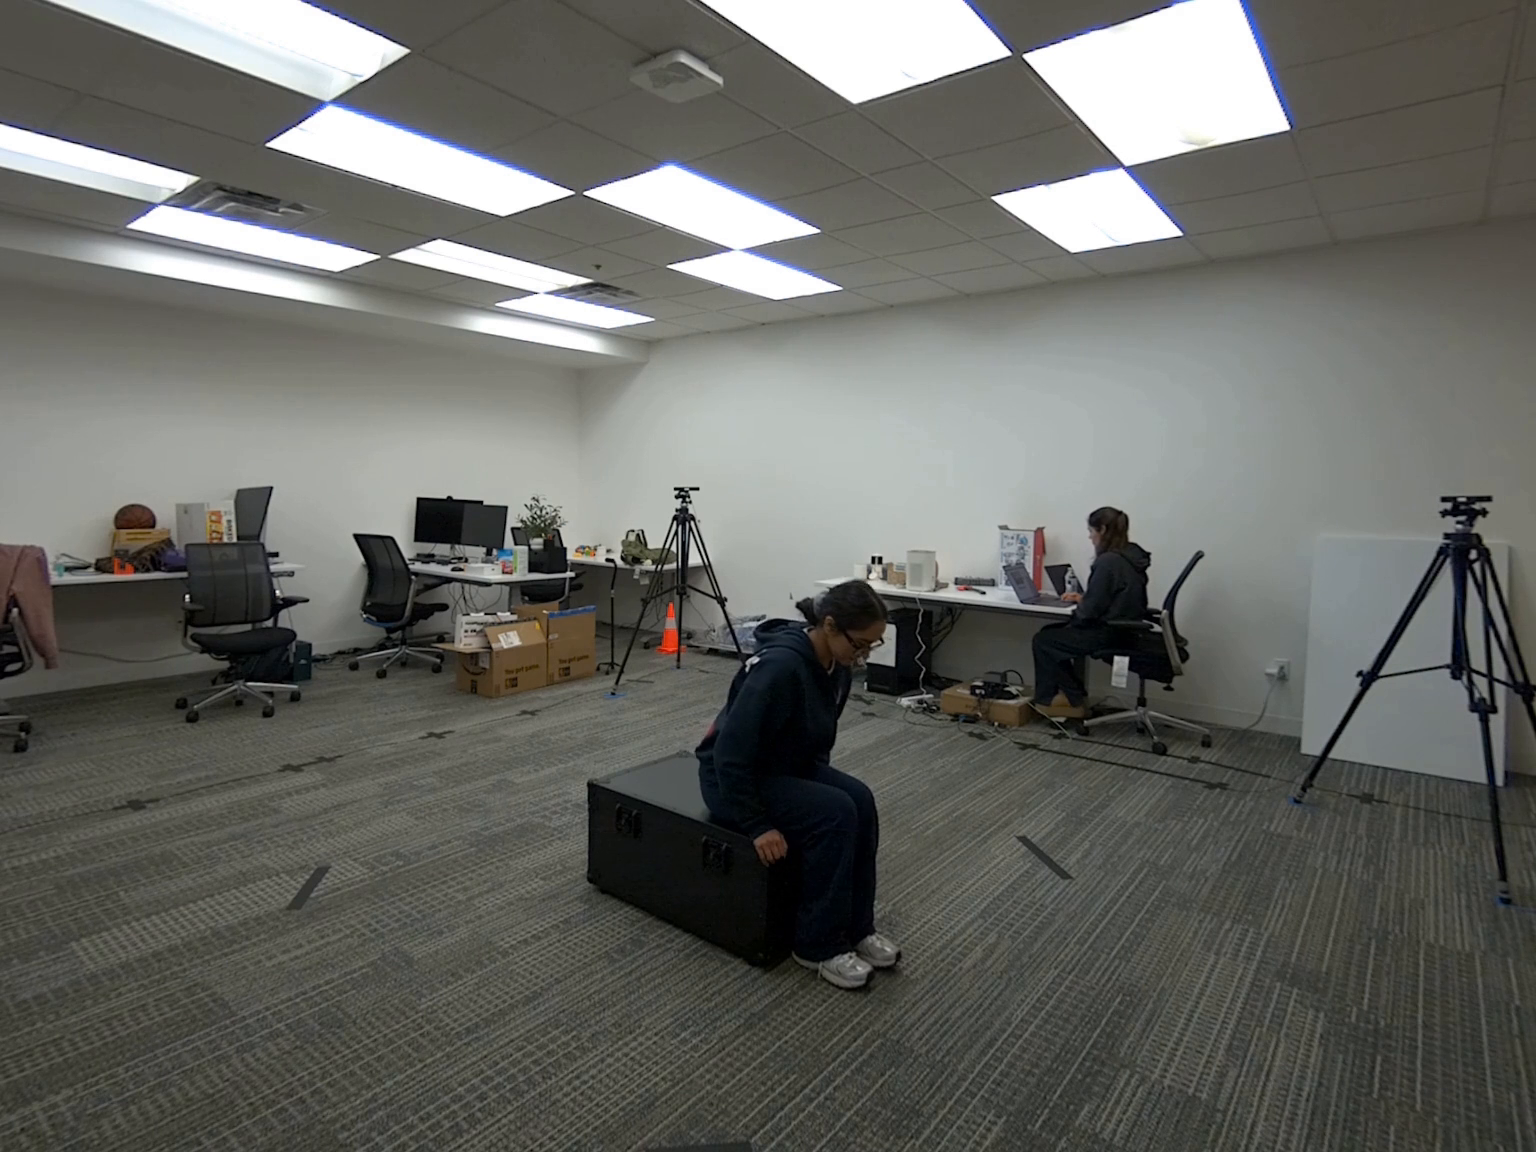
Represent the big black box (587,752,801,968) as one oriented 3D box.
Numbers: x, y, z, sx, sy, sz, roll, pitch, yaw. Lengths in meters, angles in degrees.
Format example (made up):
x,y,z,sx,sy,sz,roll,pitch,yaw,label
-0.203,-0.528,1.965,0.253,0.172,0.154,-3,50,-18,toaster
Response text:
x,y,z,sx,sy,sz,roll,pitch,yaw,label
-0.202,0.900,2.882,0.891,0.395,0.506,6,7,39,big black box
